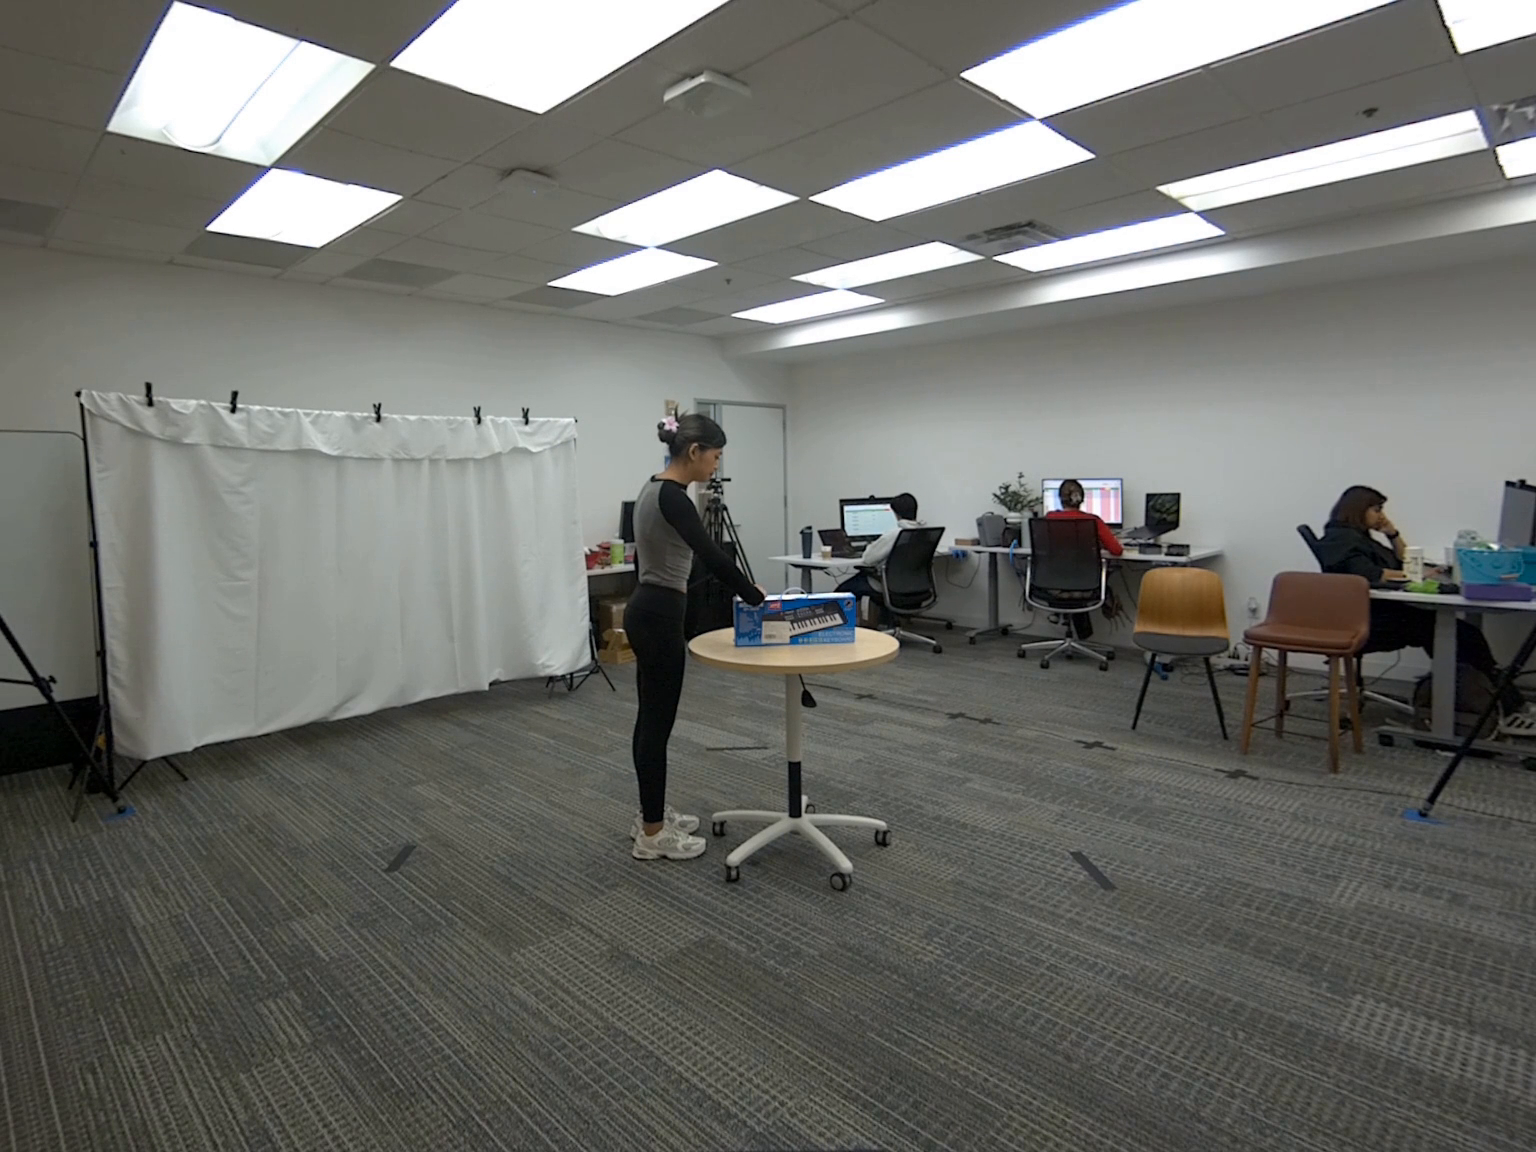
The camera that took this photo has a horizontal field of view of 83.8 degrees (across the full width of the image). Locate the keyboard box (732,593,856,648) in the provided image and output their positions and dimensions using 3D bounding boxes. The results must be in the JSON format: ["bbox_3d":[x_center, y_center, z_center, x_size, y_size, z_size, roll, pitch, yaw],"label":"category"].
[{"bbox_3d":[0.095,0.161,3.096,0.435,0.175,0.060,-2,8,-4],"label":"keyboard box"}]
